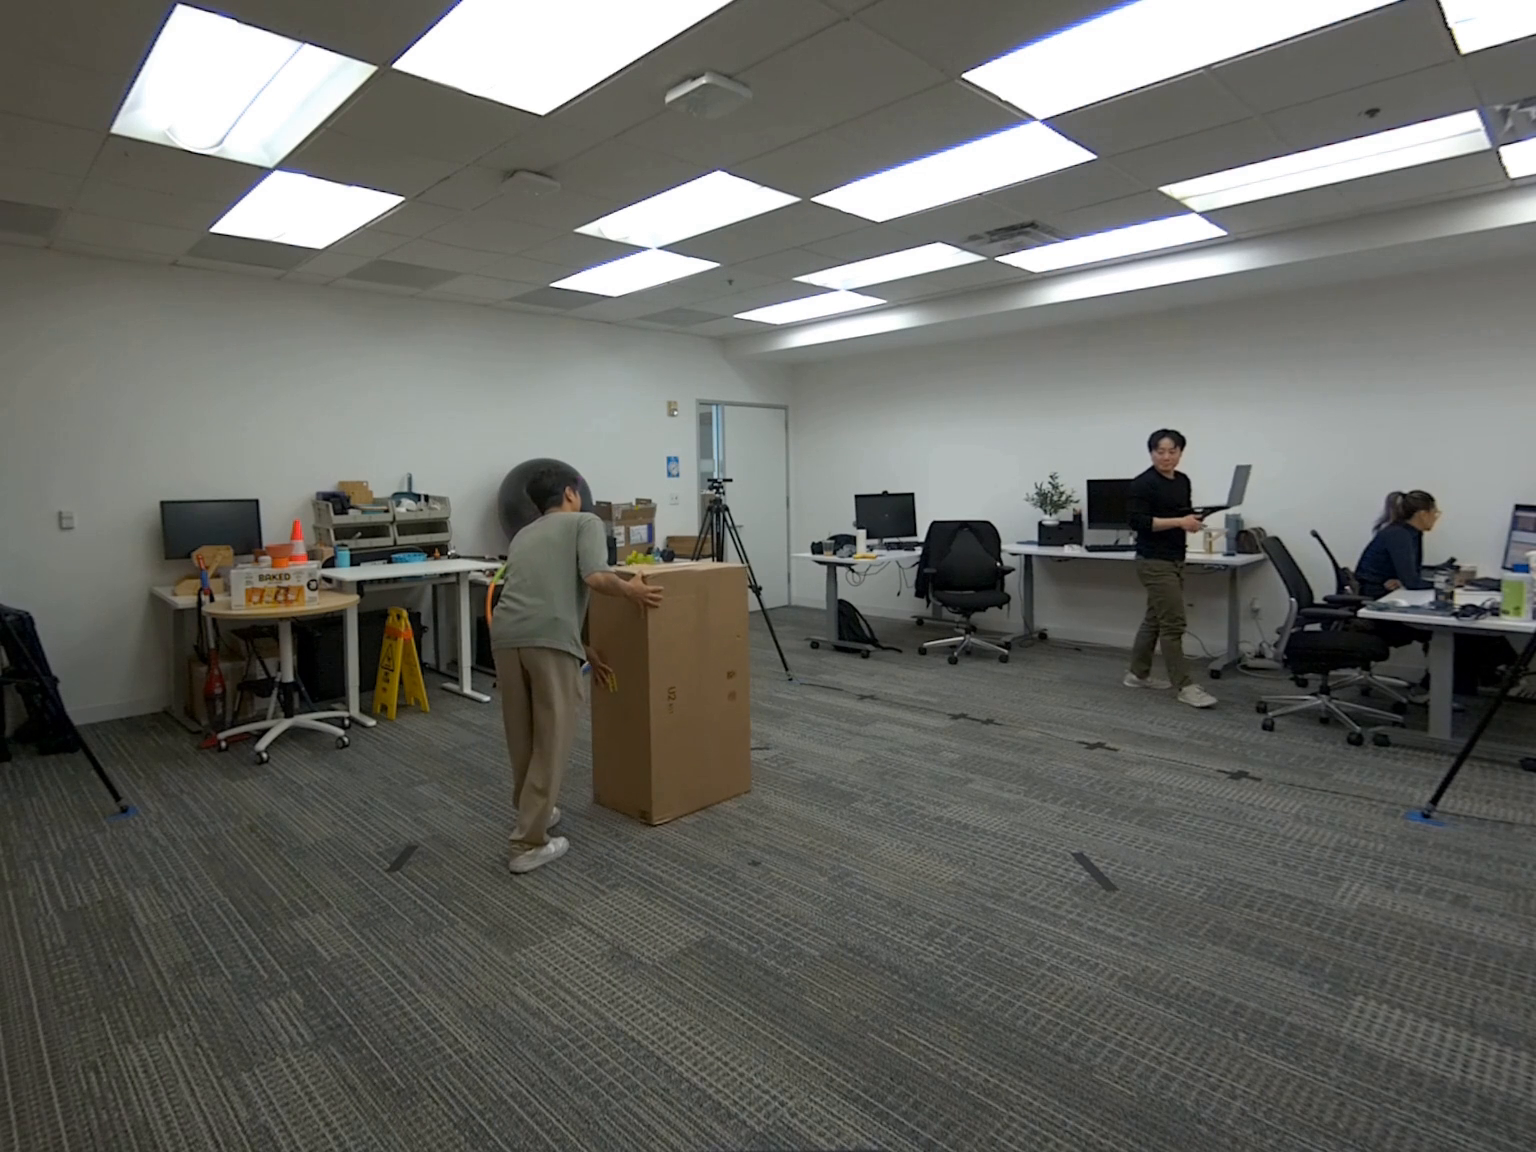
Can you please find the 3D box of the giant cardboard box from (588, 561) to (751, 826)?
[{"bbox_3d":[-0.428,0.471,3.773,0.439,1.023,0.562,2,4,45],"label":"giant cardboard box"}]
